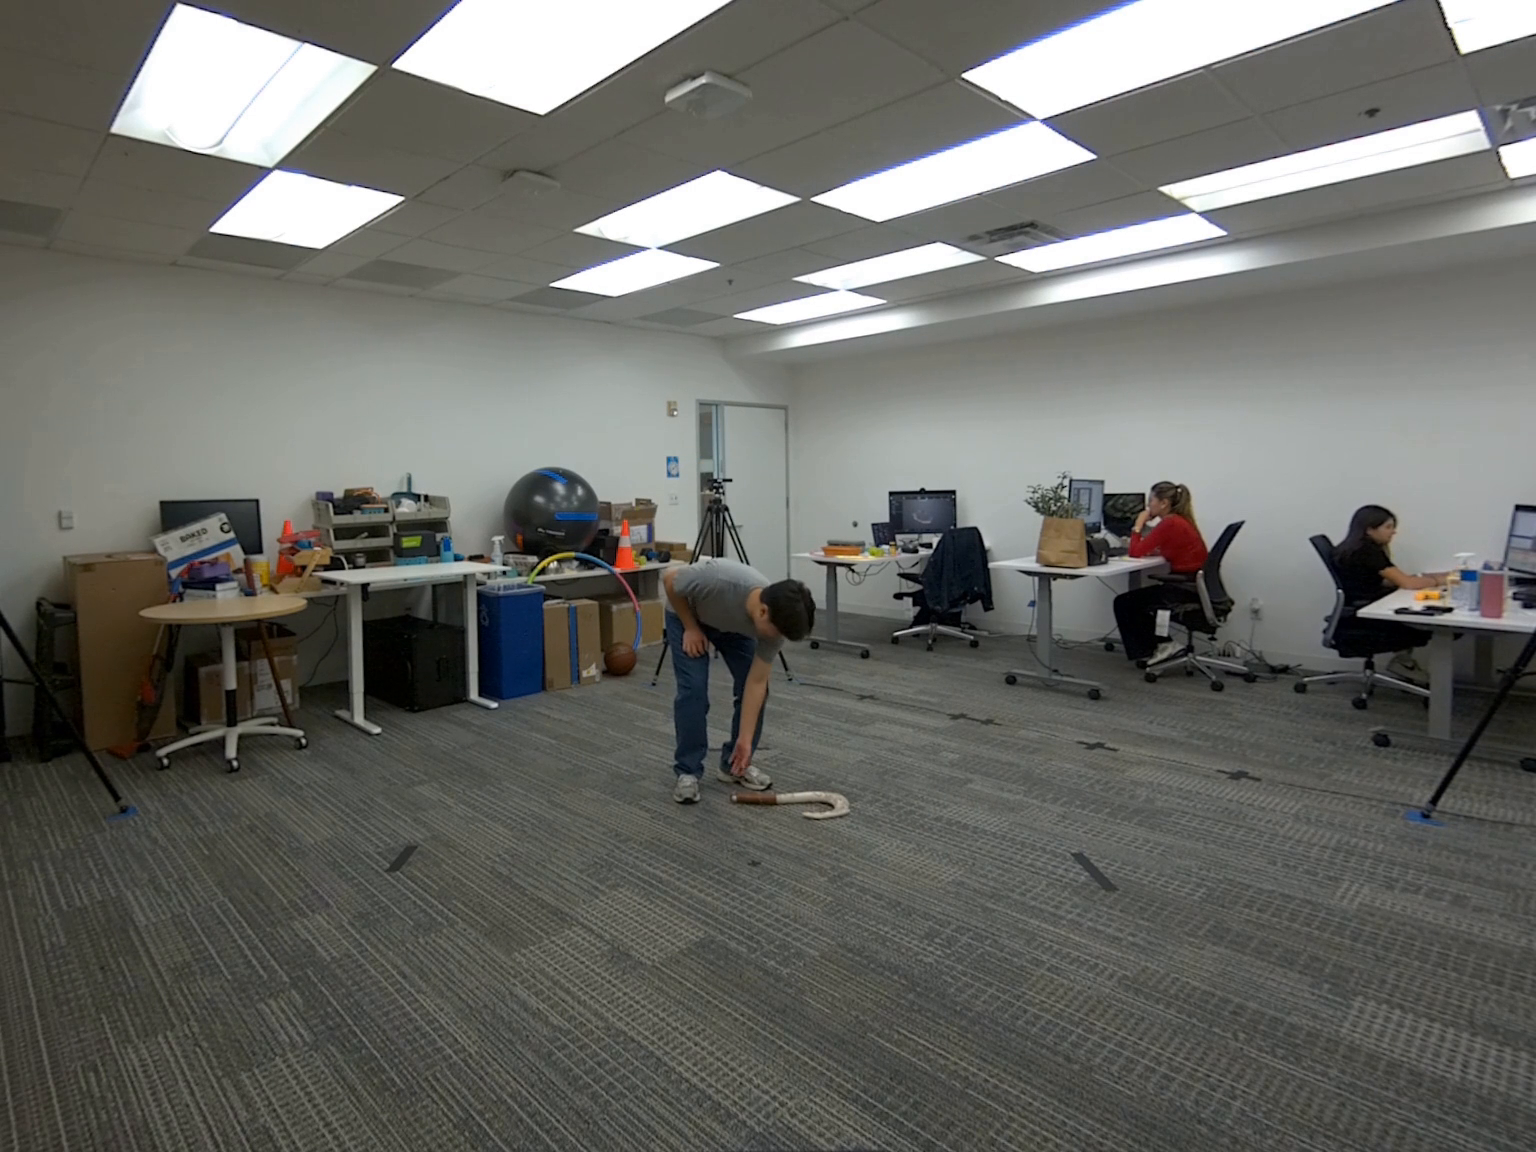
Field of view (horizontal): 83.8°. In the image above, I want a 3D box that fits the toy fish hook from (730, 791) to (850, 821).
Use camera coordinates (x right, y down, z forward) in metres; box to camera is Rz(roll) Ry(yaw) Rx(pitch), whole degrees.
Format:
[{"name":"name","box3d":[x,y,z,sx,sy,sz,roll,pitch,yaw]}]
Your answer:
[{"name":"toy fish hook","box3d":[0.091,0.962,3.611,0.509,0.048,0.224,-1,6,5]}]
